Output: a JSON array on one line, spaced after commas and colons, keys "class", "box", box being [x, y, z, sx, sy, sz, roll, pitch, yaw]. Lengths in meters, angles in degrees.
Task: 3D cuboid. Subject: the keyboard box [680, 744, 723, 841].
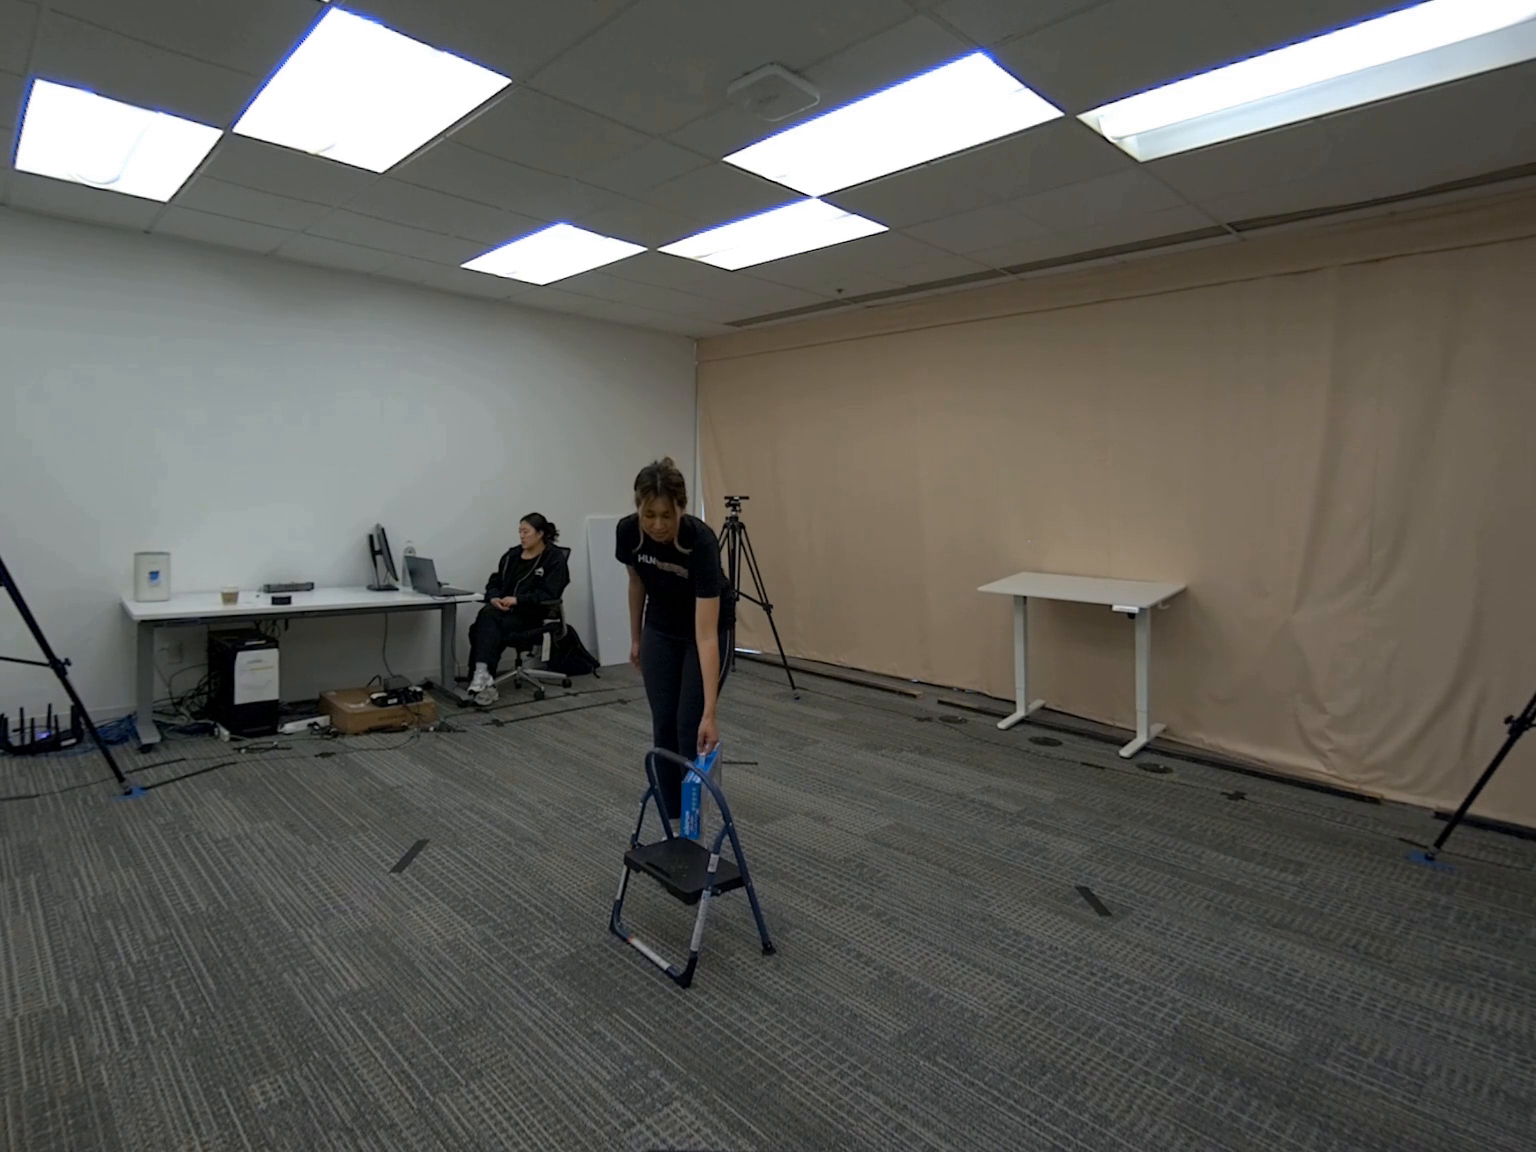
[{"class": "keyboard box", "box": [-0.205, 0.694, 2.748, 0.059, 0.175, 0.437, 1, 6, 3]}]
